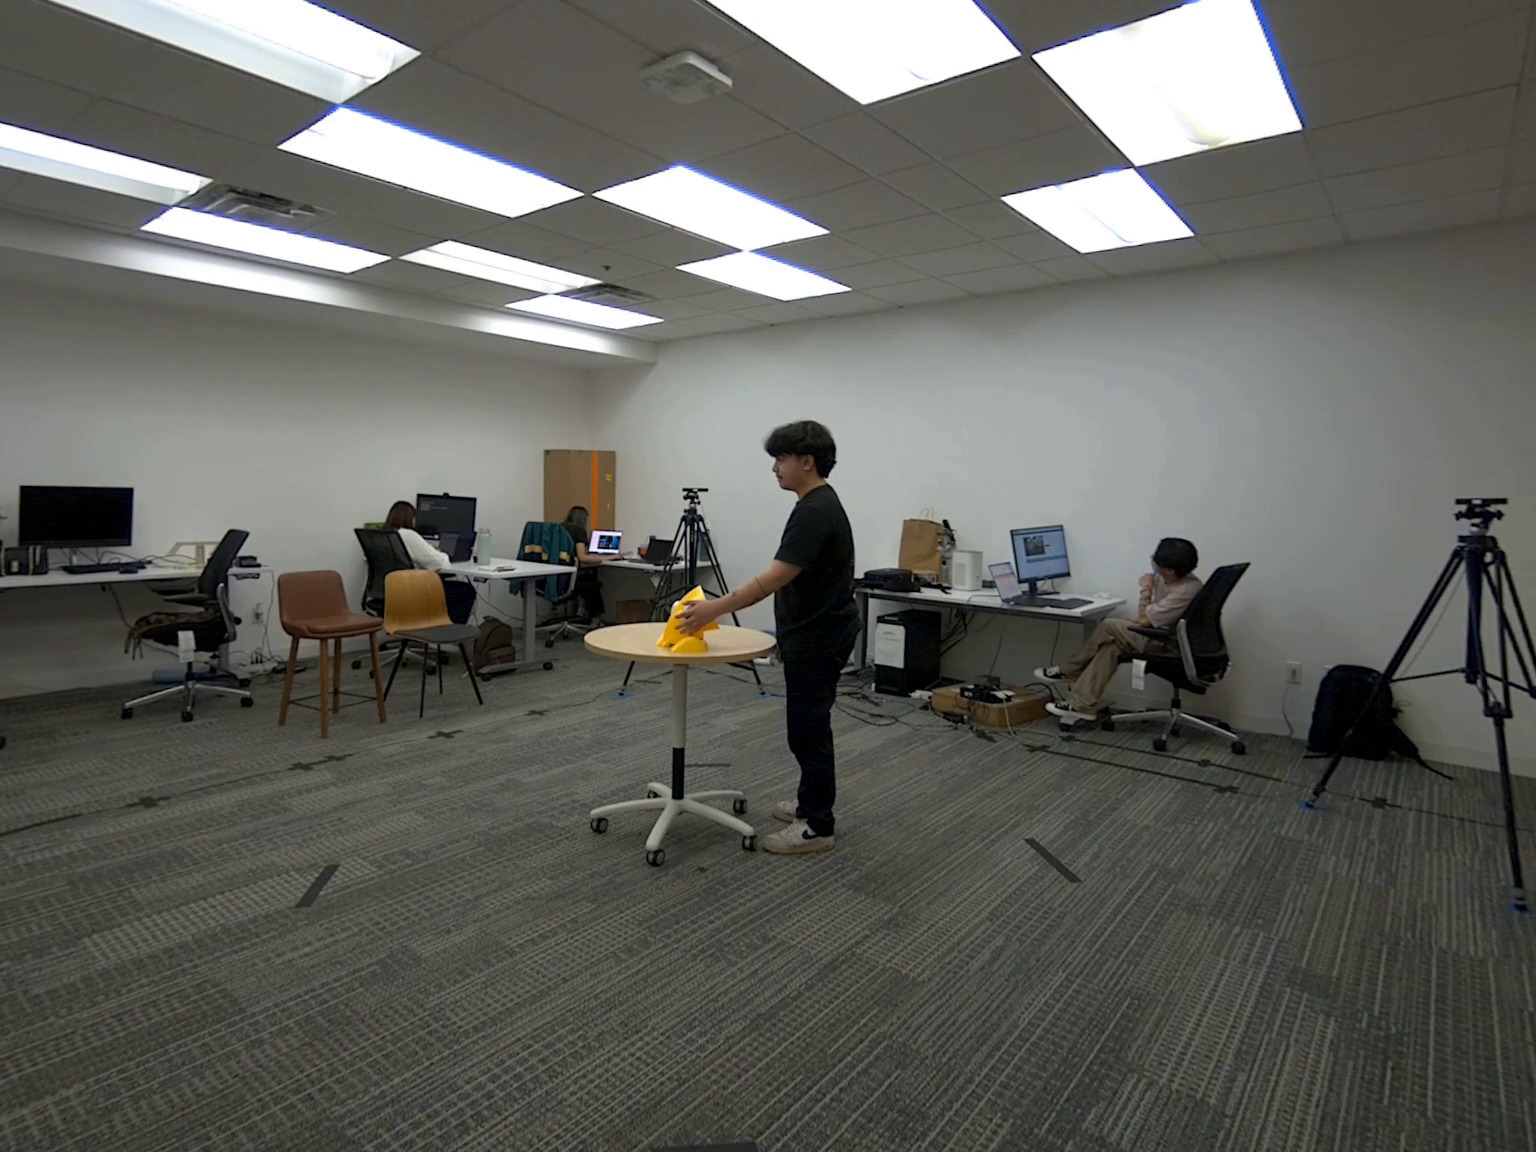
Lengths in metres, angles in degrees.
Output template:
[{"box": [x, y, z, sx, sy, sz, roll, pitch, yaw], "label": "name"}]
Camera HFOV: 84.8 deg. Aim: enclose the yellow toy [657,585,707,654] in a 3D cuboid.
[{"box": [-0.322, 0.152, 3.221, 0.187, 0.230, 0.211, -2, 6, -34], "label": "yellow toy"}]
